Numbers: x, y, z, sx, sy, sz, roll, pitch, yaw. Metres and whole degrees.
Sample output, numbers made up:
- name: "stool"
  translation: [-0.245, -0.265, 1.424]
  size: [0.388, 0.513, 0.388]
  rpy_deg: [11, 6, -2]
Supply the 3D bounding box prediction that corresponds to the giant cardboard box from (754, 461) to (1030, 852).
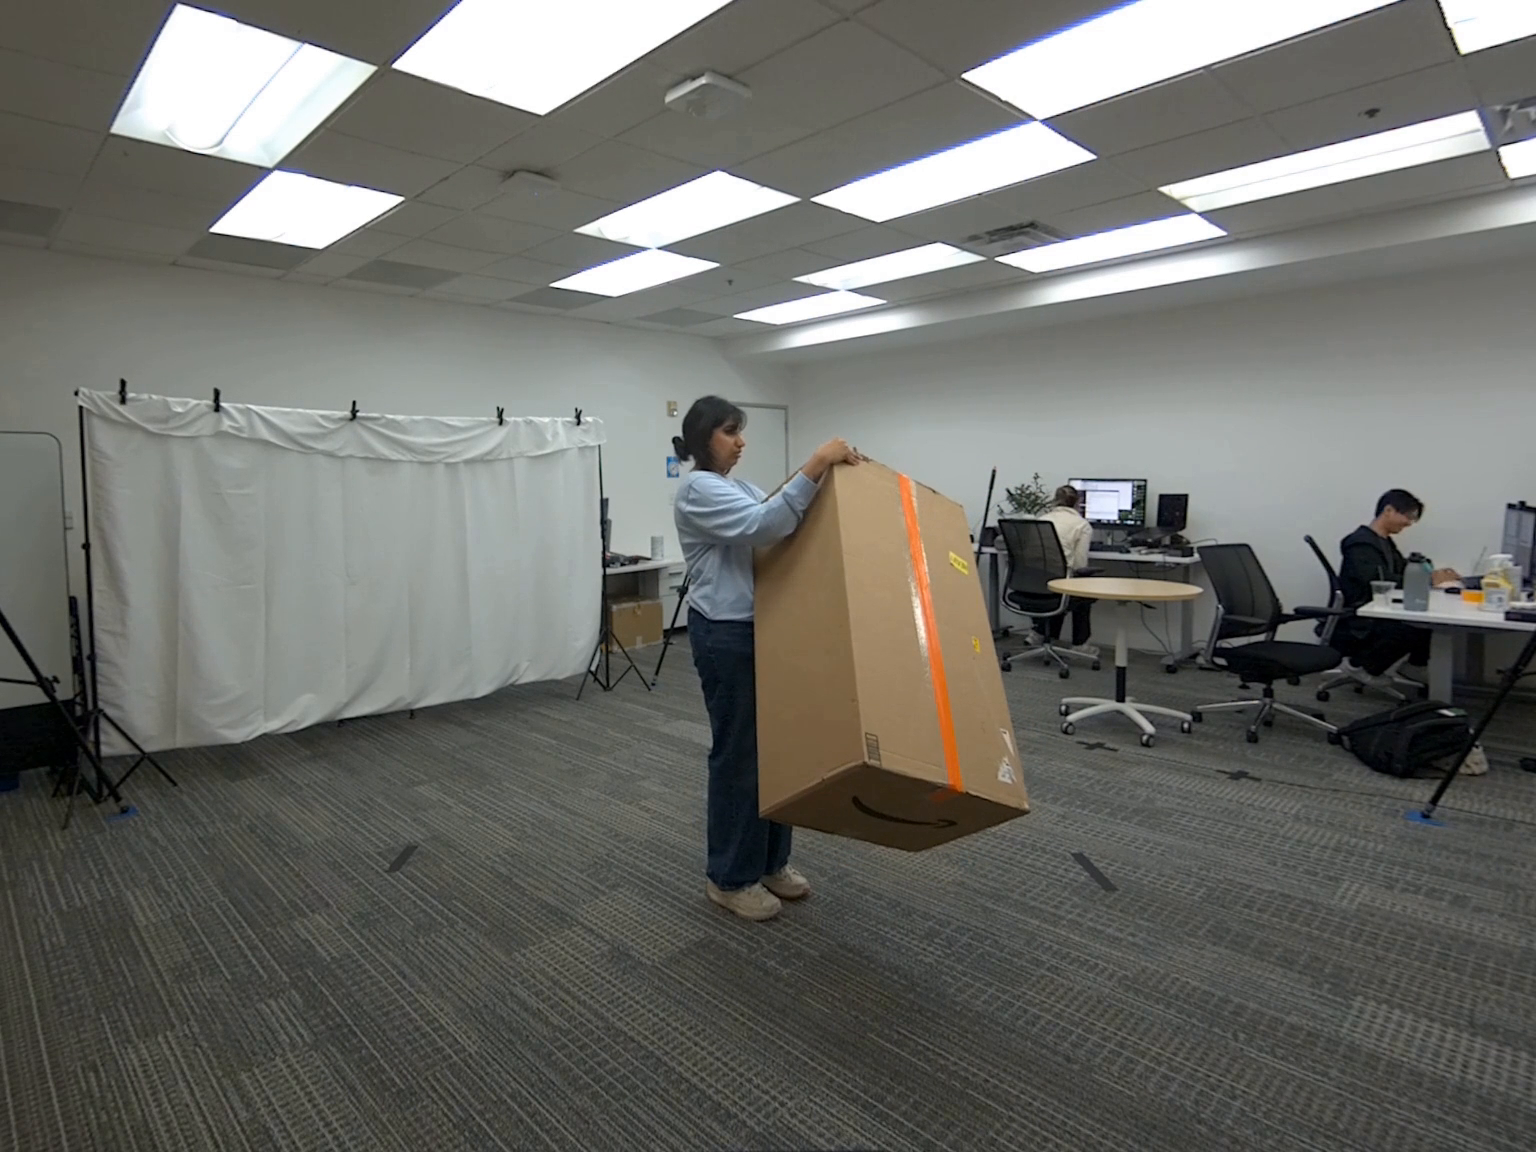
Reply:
- name: "giant cardboard box"
  translation: [0.318, 0.210, 2.519]
  size: [0.567, 1.054, 0.448]
  rpy_deg: [21, -41, -28]
